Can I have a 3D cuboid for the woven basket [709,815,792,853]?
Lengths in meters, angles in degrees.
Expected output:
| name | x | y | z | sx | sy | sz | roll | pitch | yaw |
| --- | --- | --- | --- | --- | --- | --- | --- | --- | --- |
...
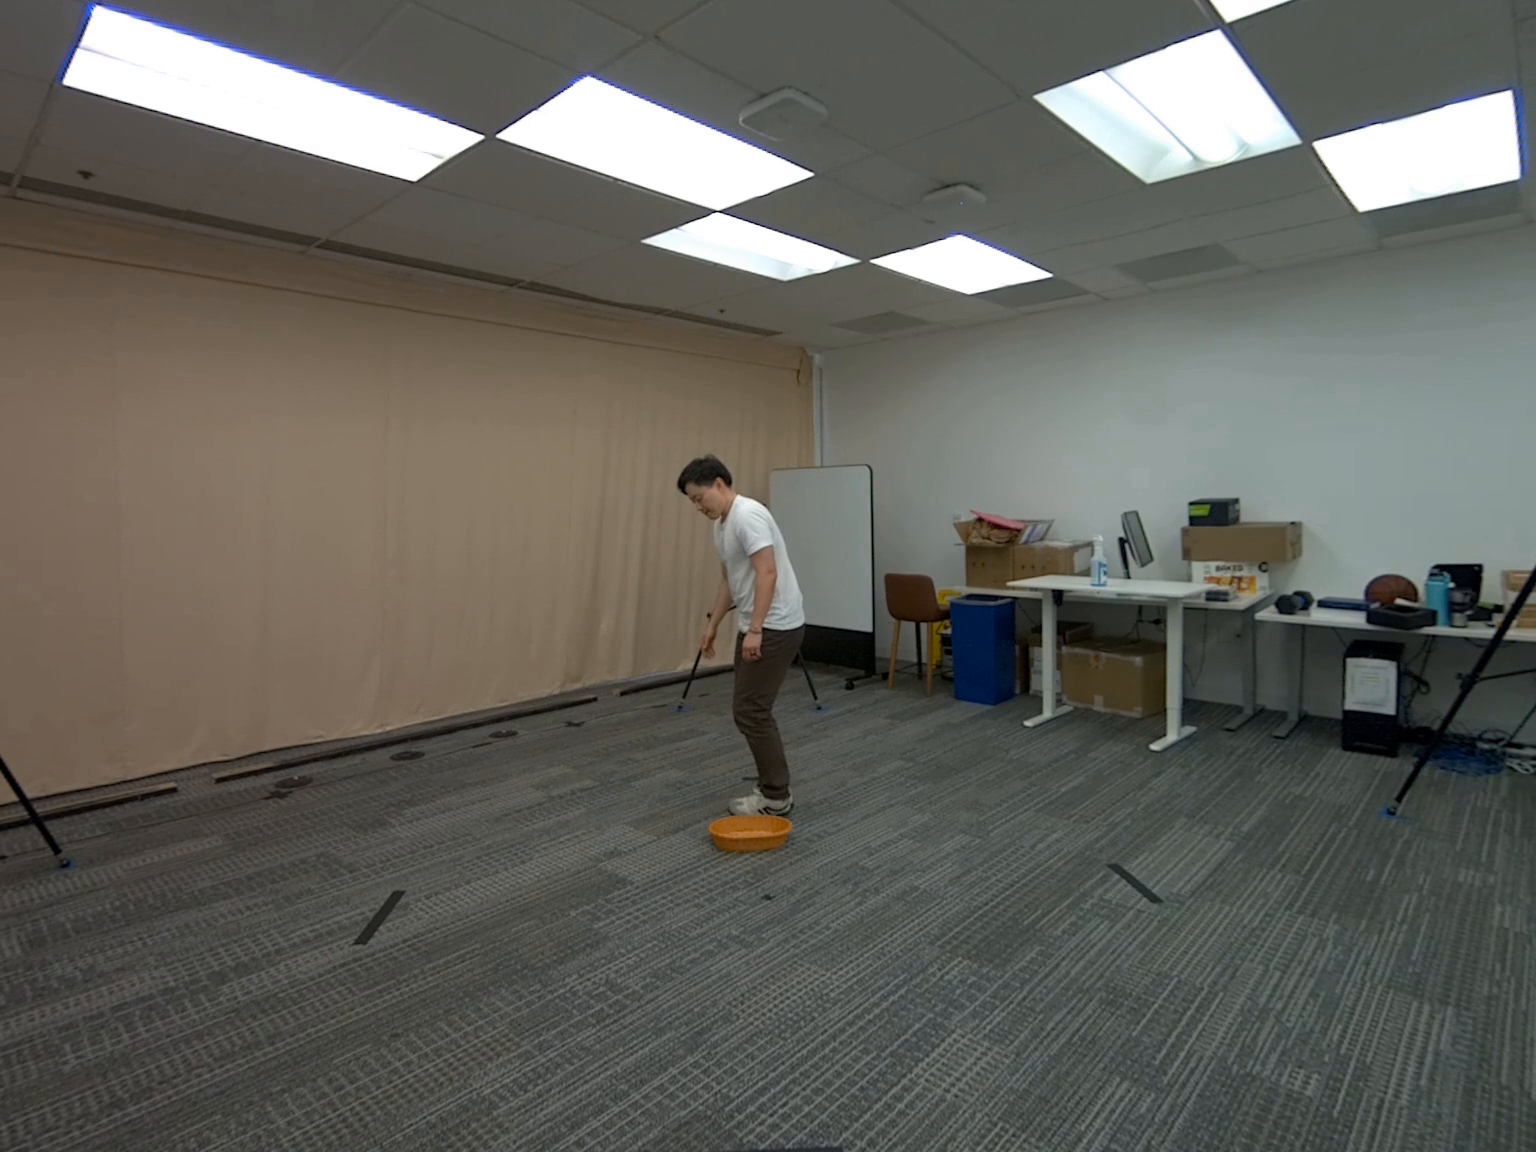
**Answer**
| name | x | y | z | sx | sy | sz | roll | pitch | yaw |
| --- | --- | --- | --- | --- | --- | --- | --- | --- | --- |
| woven basket | -0.073 | 1.056 | 3.473 | 0.349 | 0.073 | 0.254 | -2 | 4 | -4 |
